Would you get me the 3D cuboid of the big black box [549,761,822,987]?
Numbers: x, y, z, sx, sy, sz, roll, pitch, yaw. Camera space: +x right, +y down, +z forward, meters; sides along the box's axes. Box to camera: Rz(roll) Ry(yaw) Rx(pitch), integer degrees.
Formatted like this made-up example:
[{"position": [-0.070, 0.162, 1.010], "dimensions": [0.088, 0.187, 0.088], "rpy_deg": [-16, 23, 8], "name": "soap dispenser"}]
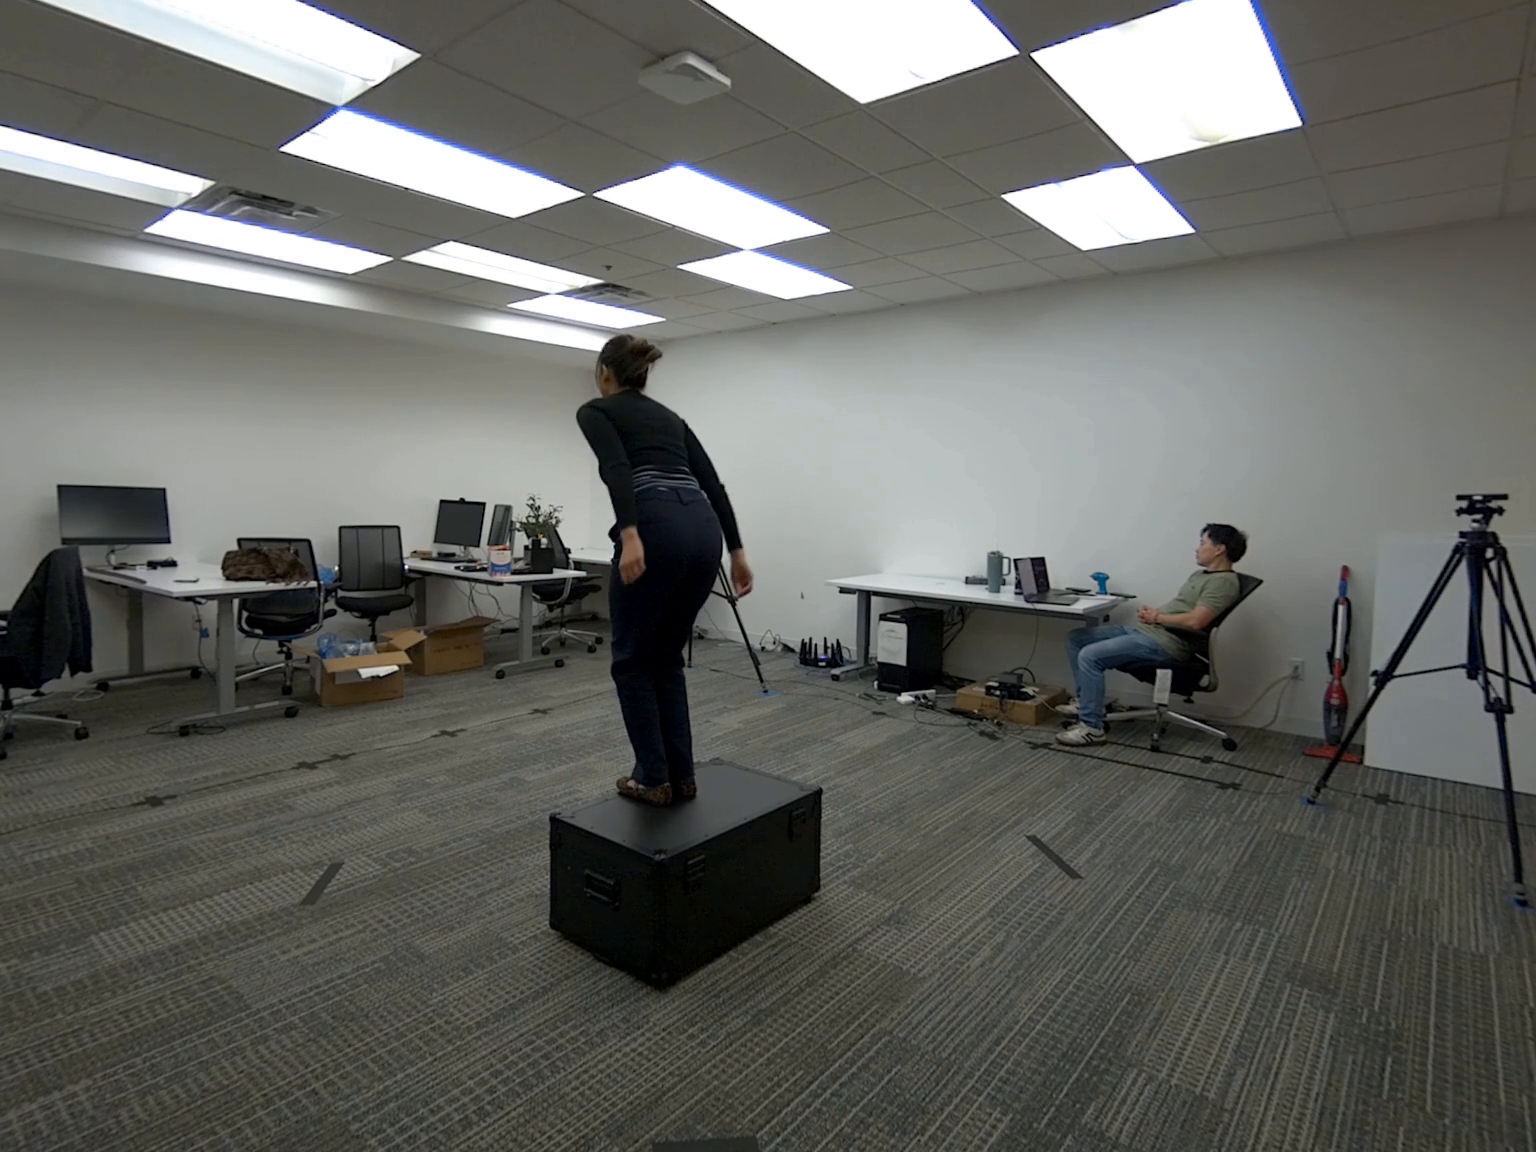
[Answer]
[{"position": [-0.275, 0.911, 2.739], "dimensions": [0.538, 0.395, 0.836], "rpy_deg": [4, 5, 39], "name": "big black box"}]
